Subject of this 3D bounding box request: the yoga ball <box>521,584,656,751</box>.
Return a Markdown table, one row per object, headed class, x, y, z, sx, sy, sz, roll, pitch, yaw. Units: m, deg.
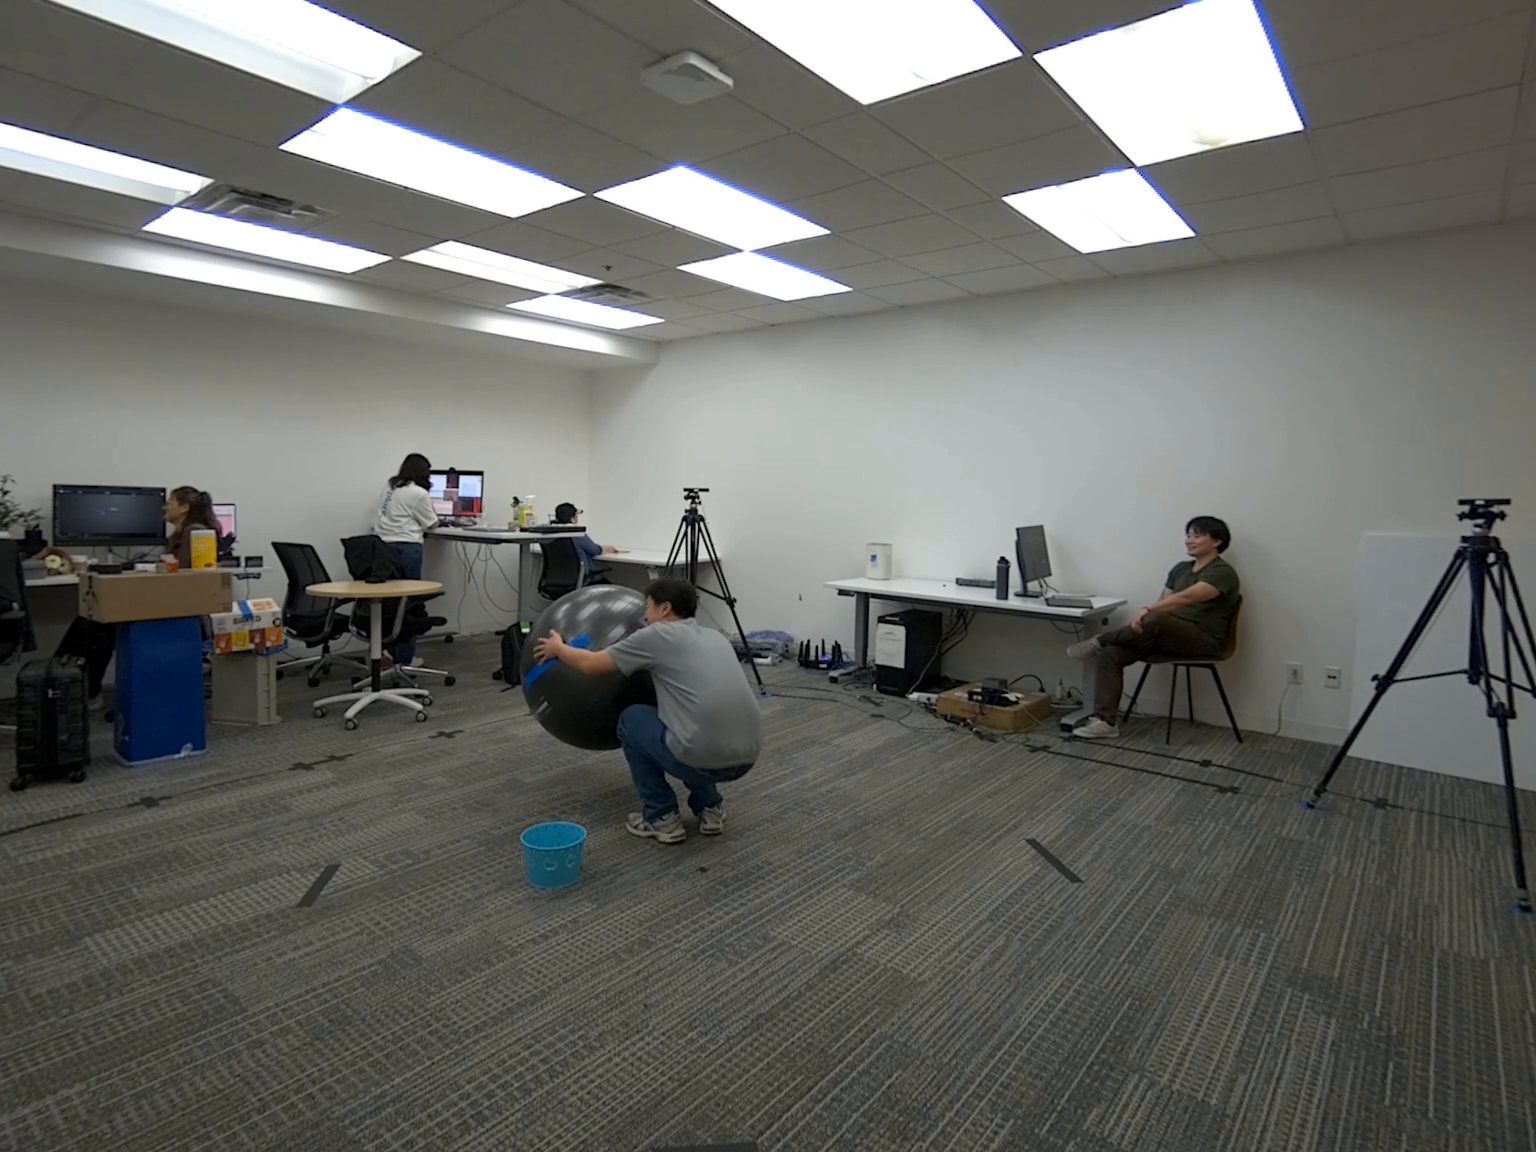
| class | x | y | z | sx | sy | sz | roll | pitch | yaw |
| --- | --- | --- | --- | --- | --- | --- | --- | --- | --- |
| yoga ball | -0.793 | 0.429 | 3.962 | 0.757 | 0.756 | 0.761 | 1 | 4 | -2 |
